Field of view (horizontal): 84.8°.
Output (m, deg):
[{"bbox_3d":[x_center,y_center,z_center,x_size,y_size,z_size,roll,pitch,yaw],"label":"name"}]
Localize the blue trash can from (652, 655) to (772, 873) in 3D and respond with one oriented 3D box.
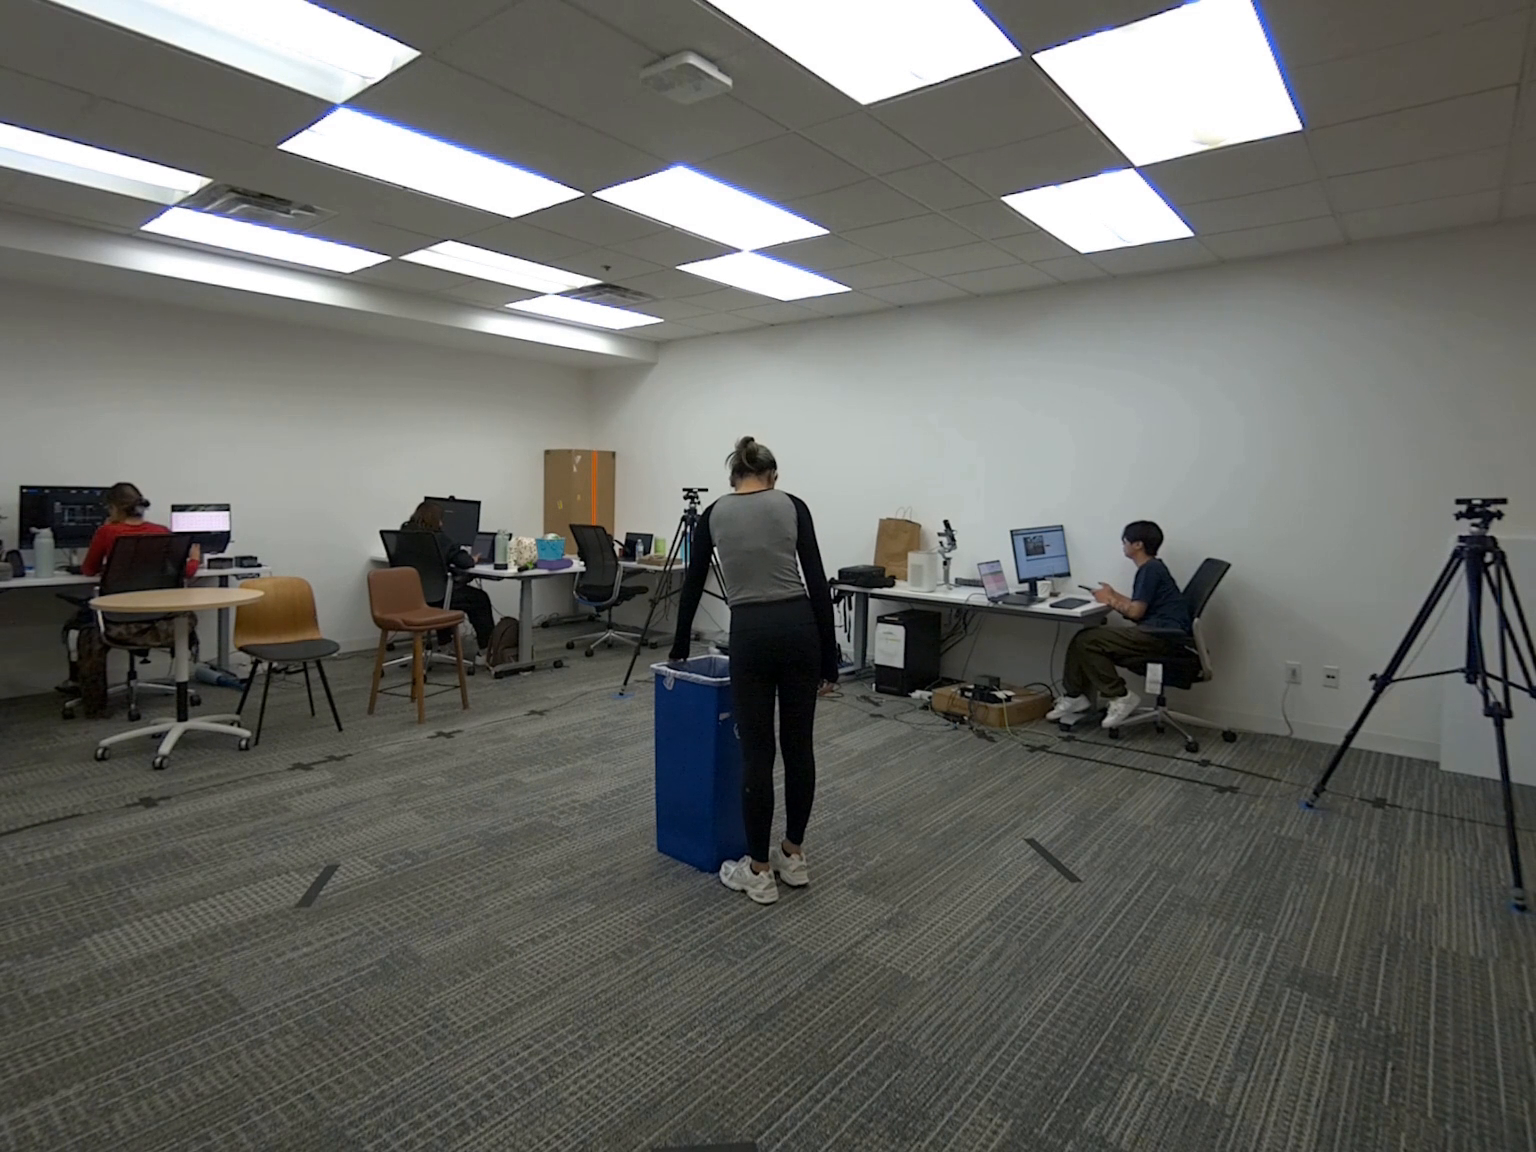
[{"bbox_3d":[-0.223,0.696,3.268,0.391,0.712,0.363,3,4,40],"label":"blue trash can"}]
